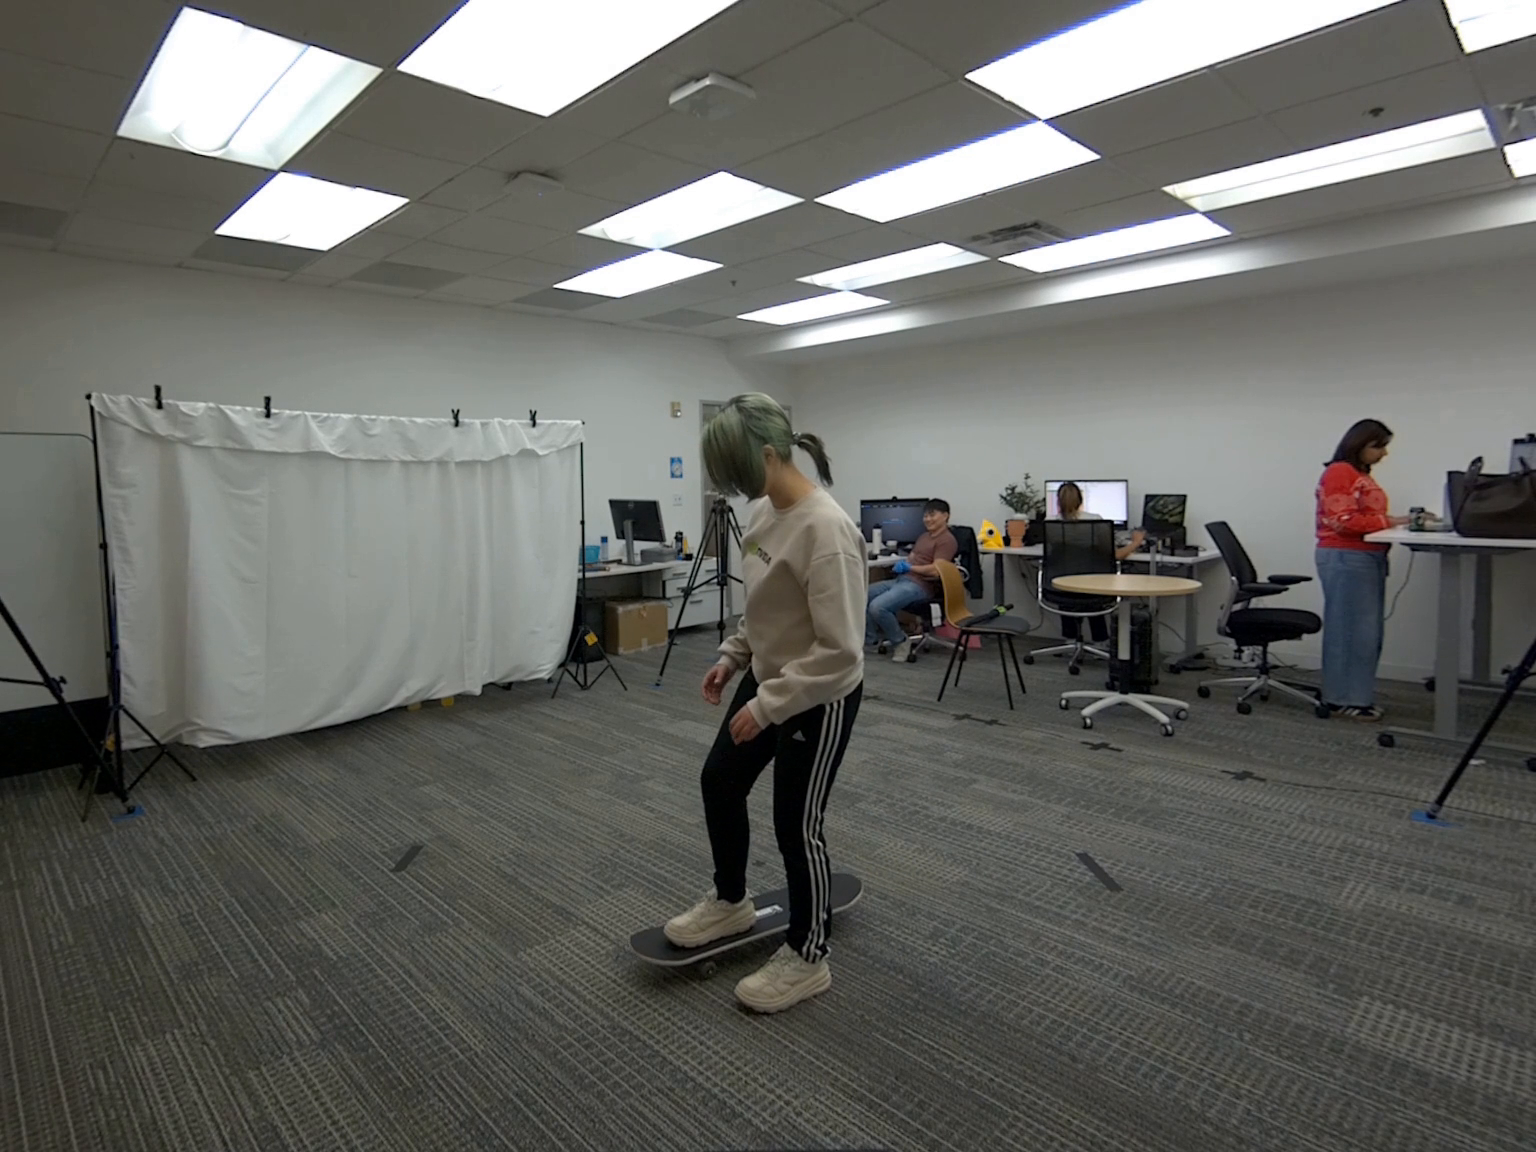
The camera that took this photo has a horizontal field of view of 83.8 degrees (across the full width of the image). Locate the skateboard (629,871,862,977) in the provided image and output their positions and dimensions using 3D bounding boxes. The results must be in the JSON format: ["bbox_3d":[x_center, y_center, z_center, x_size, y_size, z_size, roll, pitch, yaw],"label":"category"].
[{"bbox_3d":[-0.033,1.062,2.563,0.767,0.110,0.199,-6,8,-30],"label":"skateboard"}]
